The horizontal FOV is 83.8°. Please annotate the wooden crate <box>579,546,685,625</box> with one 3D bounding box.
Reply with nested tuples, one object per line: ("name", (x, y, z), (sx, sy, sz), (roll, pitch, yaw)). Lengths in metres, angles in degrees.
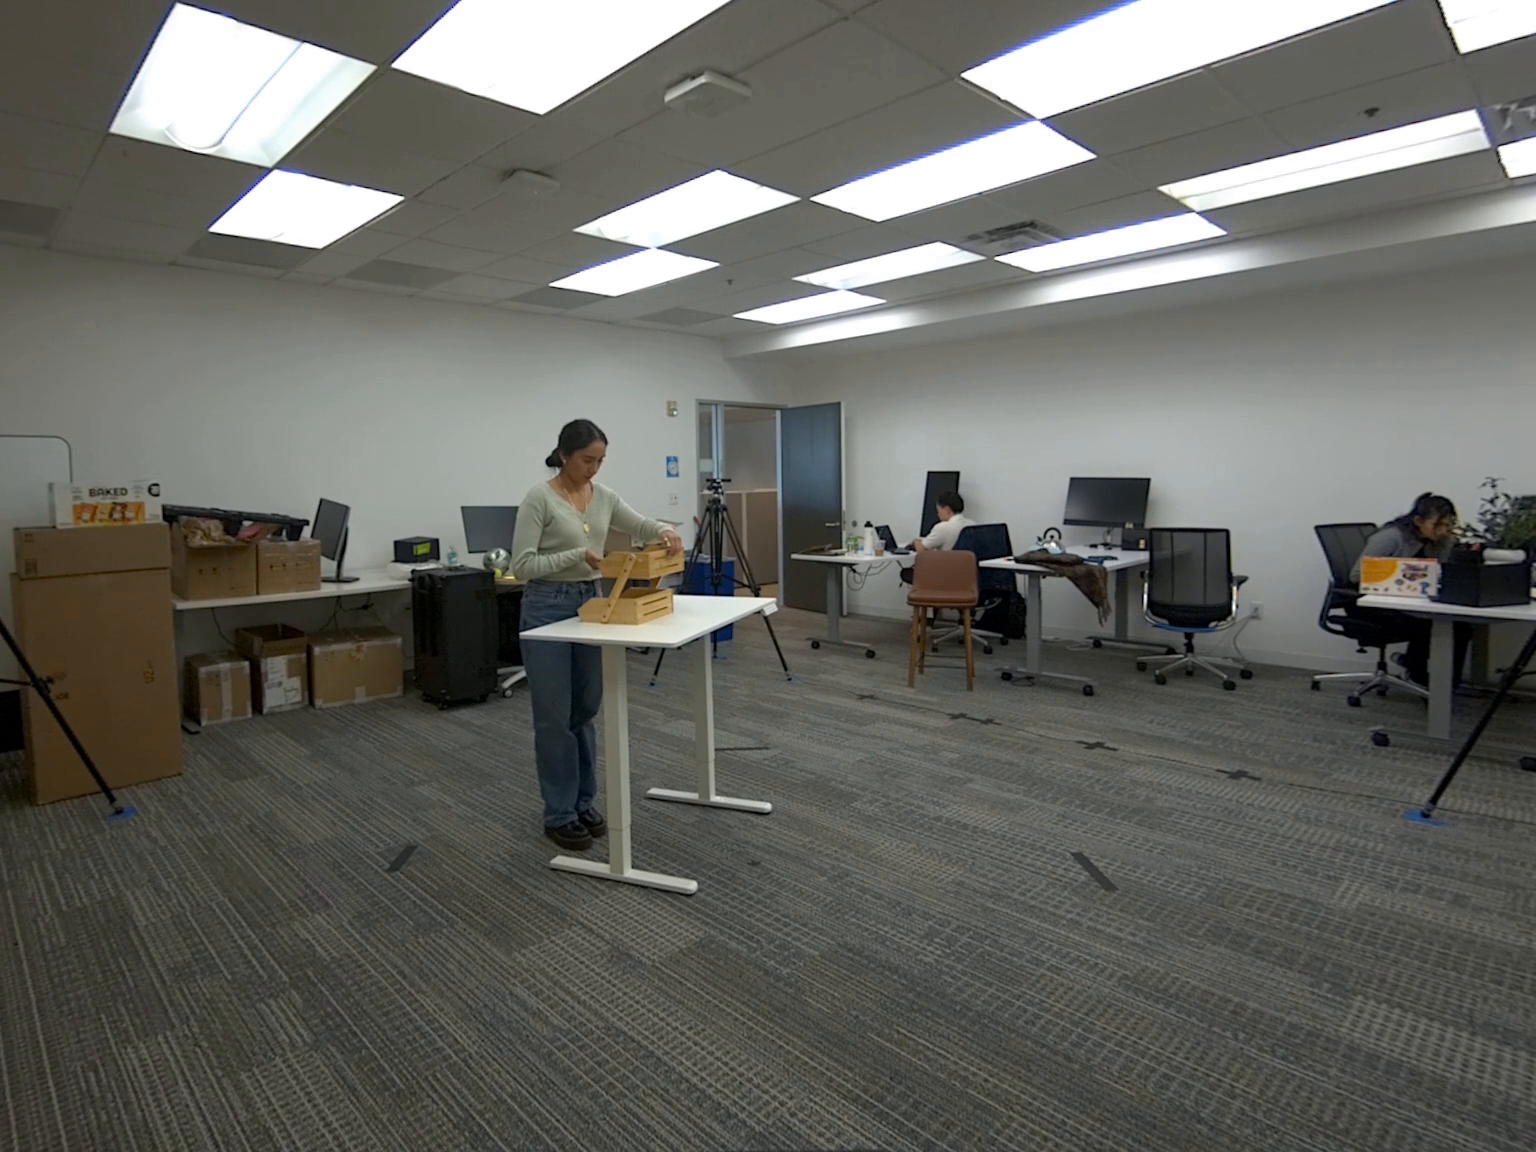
("wooden crate", (-0.517, 0.027, 3.226), (0.308, 0.272, 0.320), (1, 6, 20))
